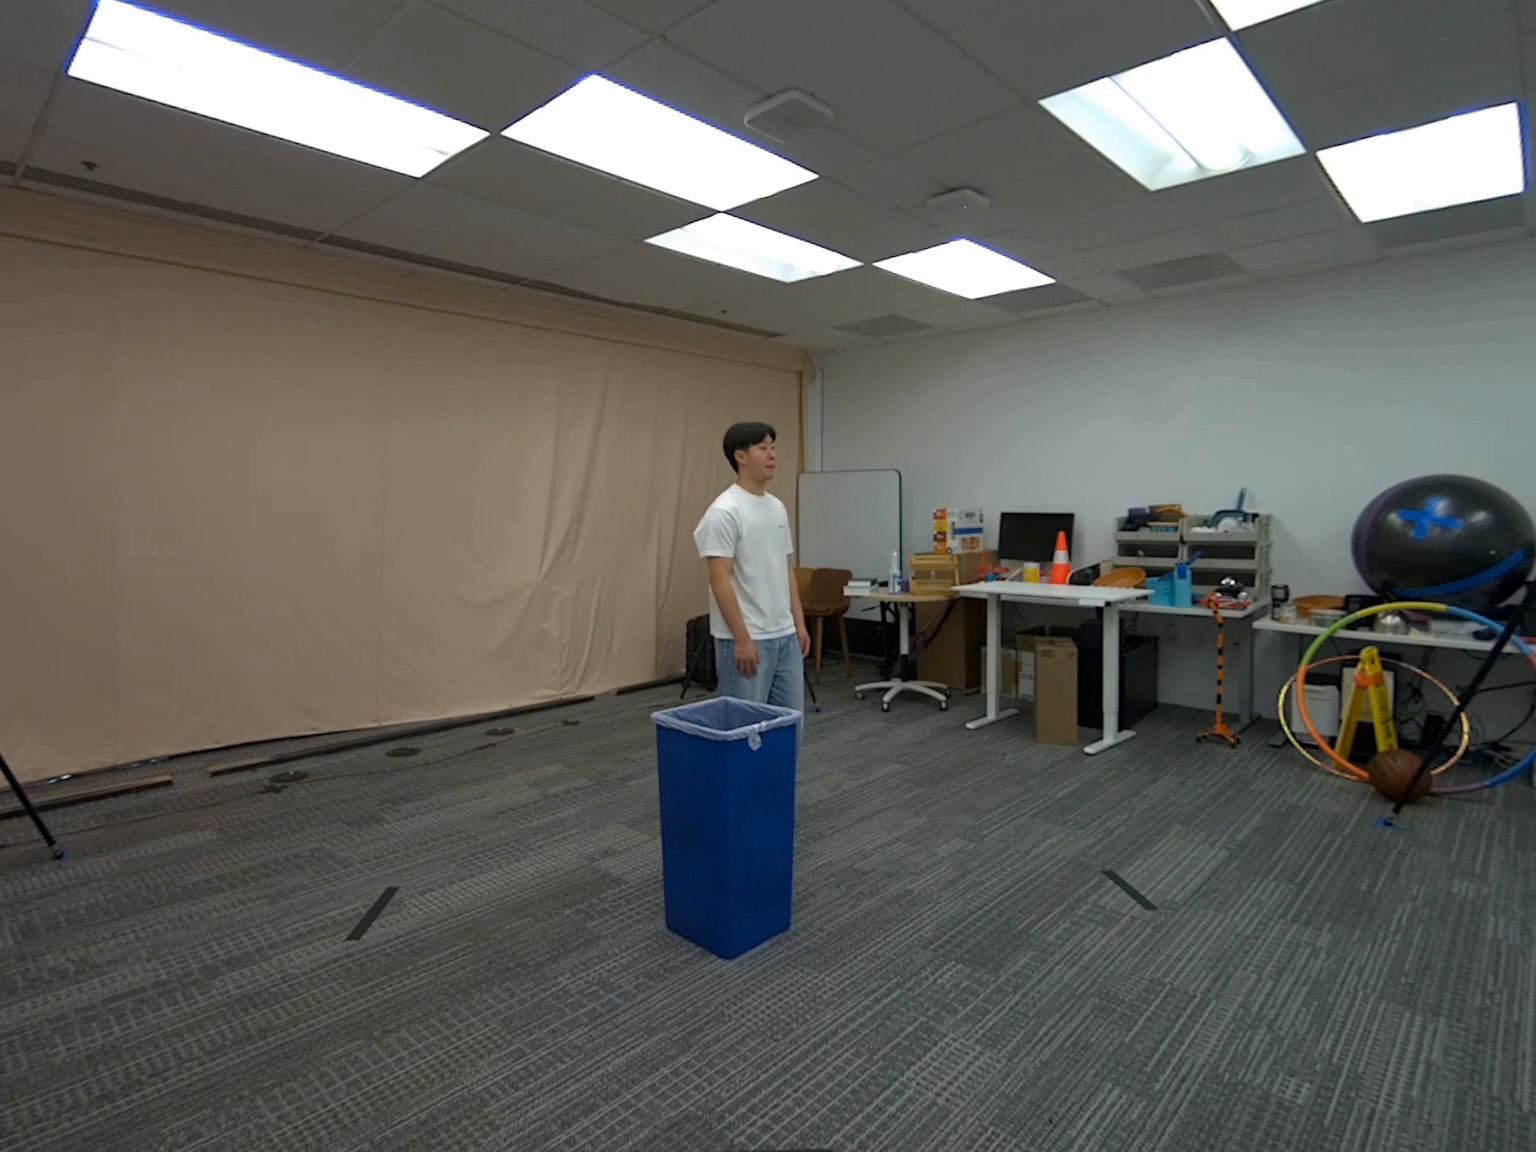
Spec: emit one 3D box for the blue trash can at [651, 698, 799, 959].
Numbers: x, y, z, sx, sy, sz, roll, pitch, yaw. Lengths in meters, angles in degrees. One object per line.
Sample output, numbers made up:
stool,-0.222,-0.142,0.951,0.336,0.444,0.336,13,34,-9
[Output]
blue trash can,-0.140,0.802,2.769,0.386,0.712,0.366,3,4,43
